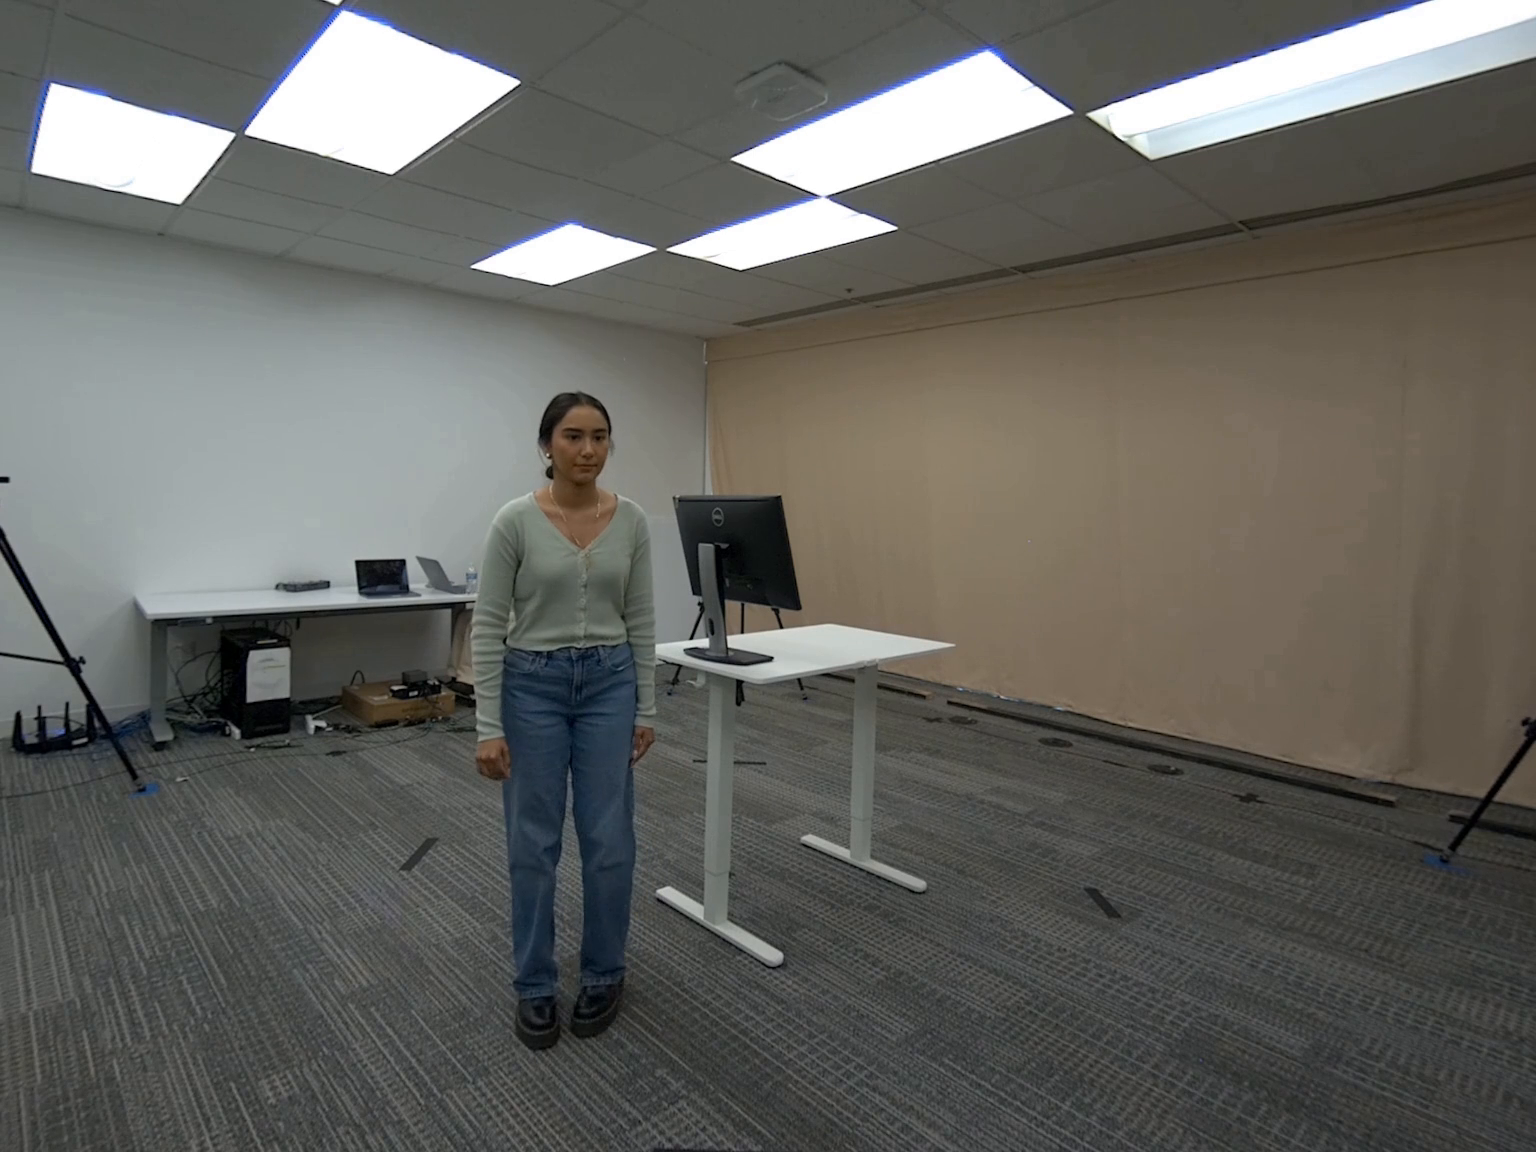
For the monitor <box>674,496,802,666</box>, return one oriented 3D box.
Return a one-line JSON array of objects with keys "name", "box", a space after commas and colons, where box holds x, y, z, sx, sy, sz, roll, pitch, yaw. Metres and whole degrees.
[{"name": "monitor", "box": [-0.134, 0.011, 2.638, 0.183, 0.521, 0.553, -3, 5, -42]}]
